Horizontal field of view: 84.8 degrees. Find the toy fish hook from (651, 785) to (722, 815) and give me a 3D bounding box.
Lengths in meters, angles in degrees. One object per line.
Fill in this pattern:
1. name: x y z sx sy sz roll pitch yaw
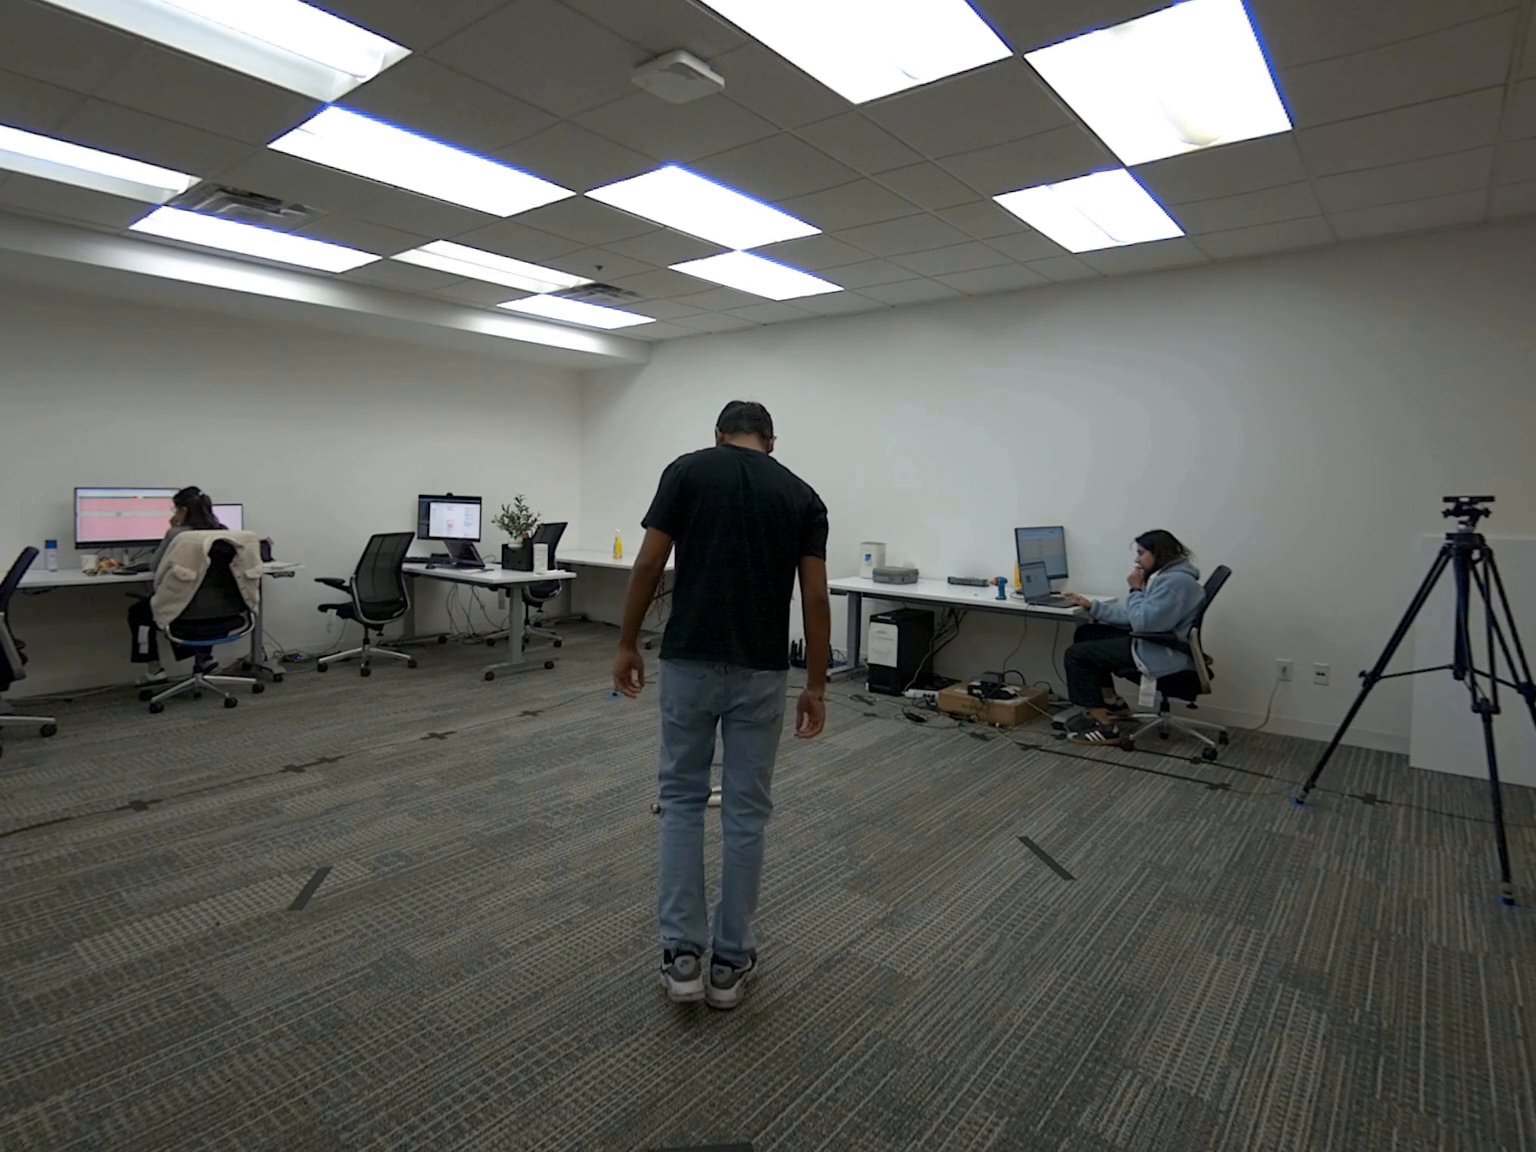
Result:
1. toy fish hook: -0.303 0.976 3.777 0.495 0.048 0.229 -1 -2 -24
